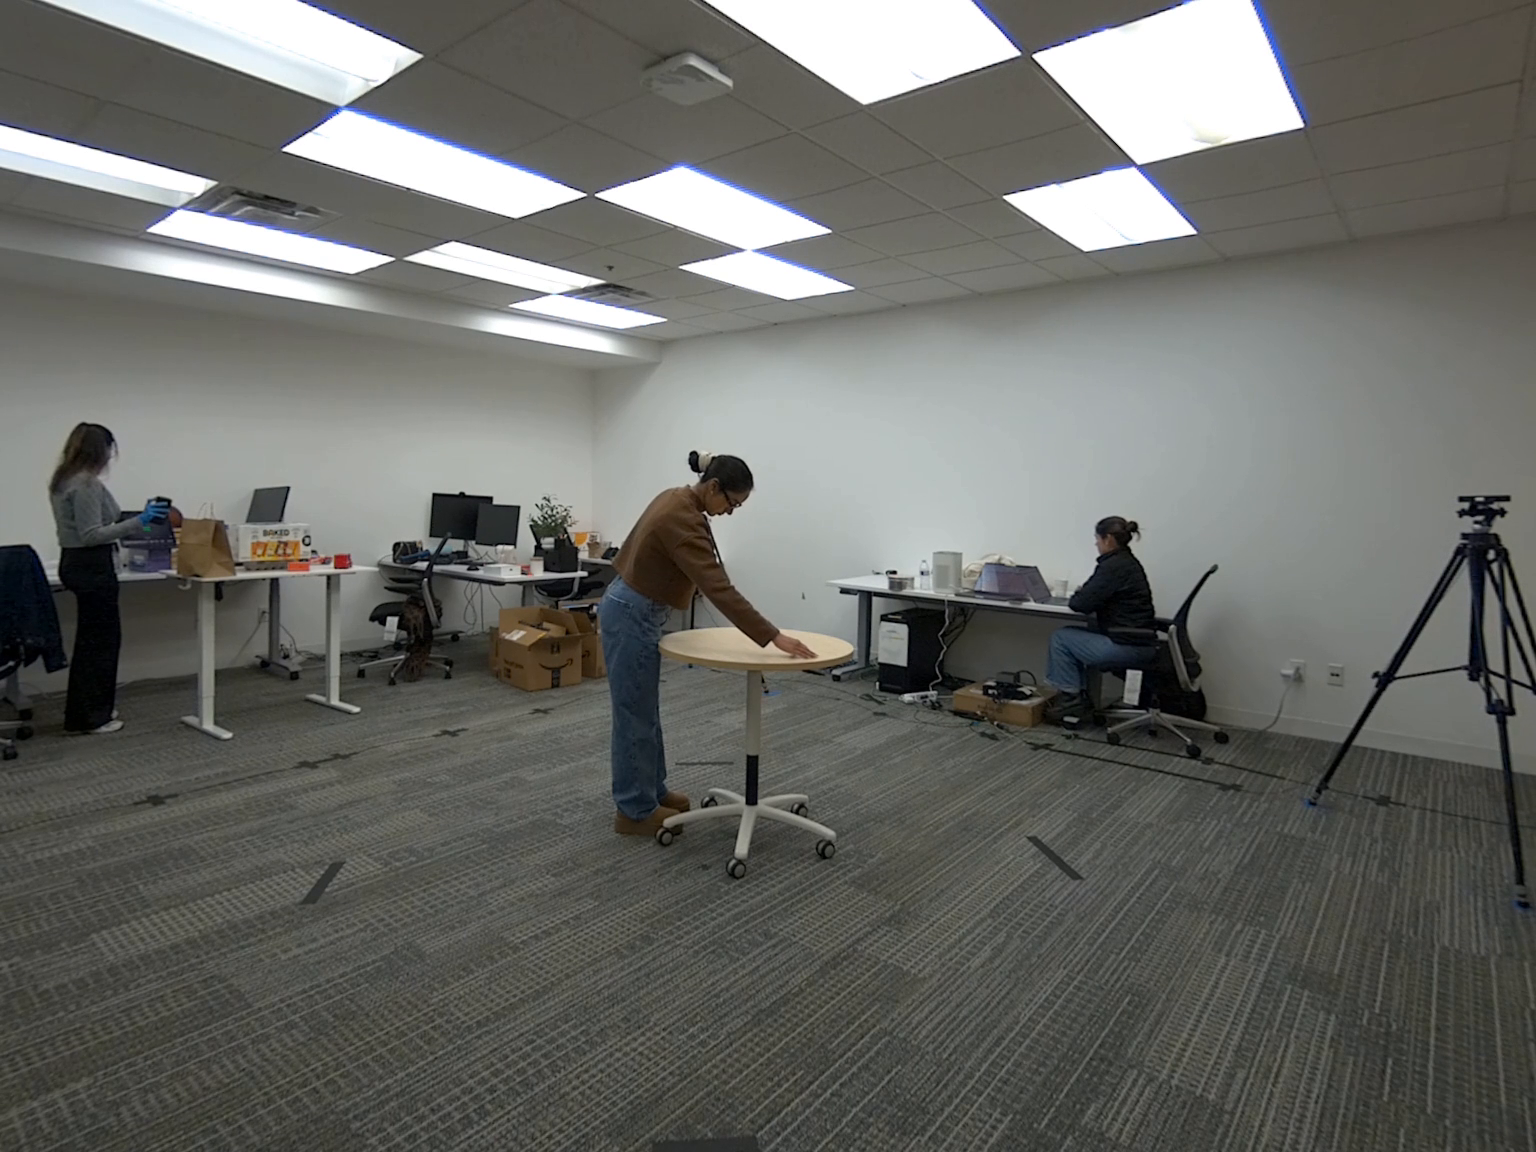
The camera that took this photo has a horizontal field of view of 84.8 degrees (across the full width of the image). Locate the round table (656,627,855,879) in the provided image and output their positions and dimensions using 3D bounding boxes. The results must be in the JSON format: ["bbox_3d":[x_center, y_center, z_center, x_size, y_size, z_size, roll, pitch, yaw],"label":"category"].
[{"bbox_3d":[-0.067,0.656,3.364,0.763,0.791,0.768,1,4,-2],"label":"round table"}]
